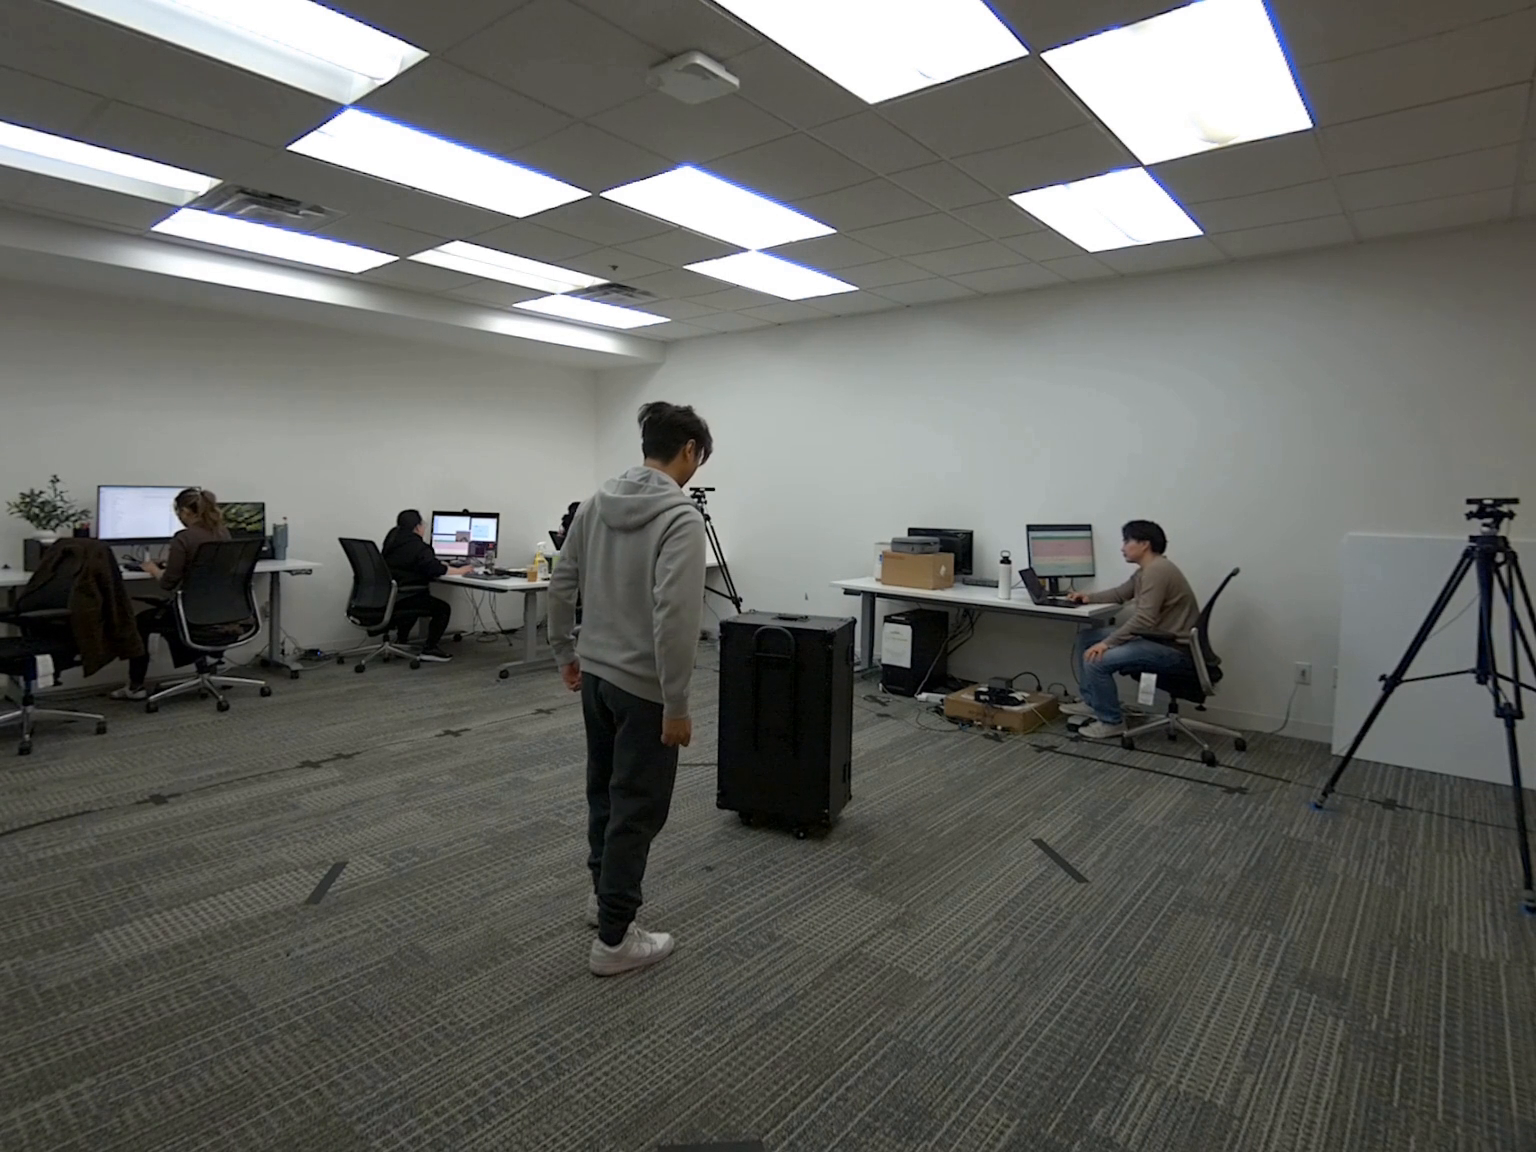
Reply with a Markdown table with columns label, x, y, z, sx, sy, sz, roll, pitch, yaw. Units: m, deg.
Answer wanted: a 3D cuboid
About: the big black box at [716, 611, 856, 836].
| label | x | y | z | sx | sy | sz | roll | pitch | yaw |
| --- | --- | --- | --- | --- | --- | --- | --- | --- | --- |
| big black box | 0.072 | 0.604 | 3.554 | 0.534 | 0.858 | 0.388 | 3 | 5 | 22 |
